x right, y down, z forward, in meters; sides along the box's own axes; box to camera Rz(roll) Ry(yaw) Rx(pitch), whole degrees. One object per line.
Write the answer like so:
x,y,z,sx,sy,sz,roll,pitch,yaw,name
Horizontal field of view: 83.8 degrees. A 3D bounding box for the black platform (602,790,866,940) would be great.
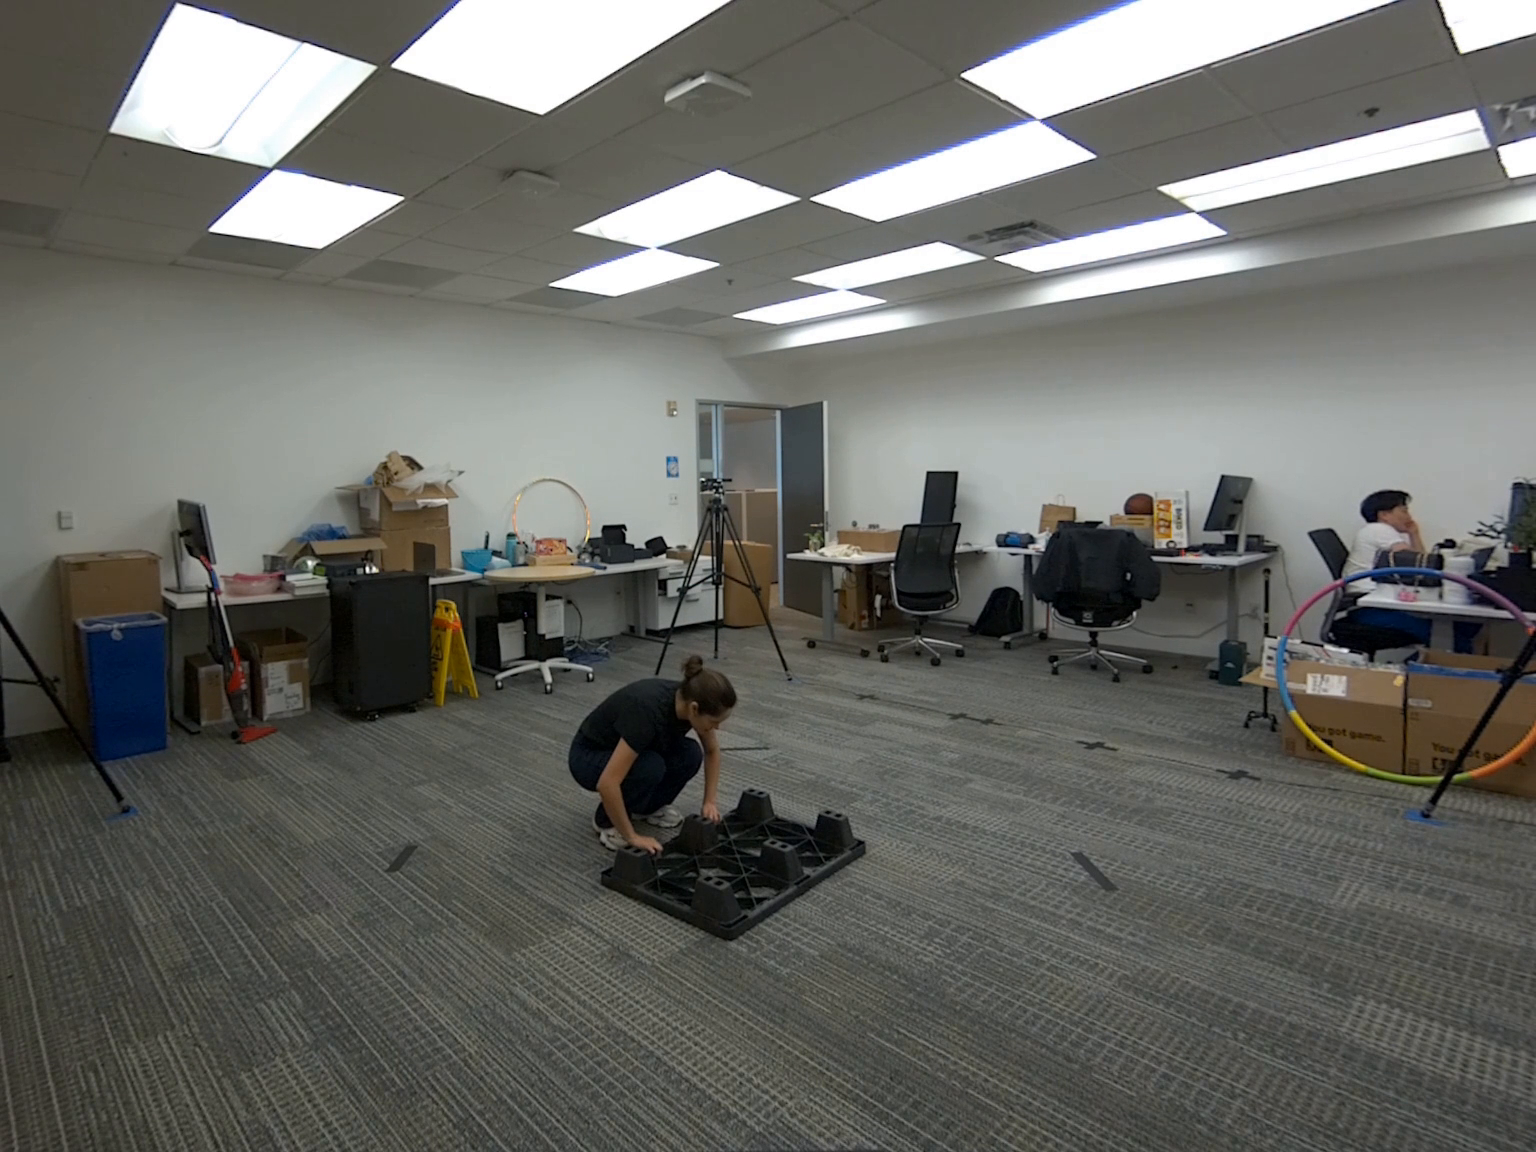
-0.110,0.981,3.084,0.623,0.142,0.785,5,8,38,black platform
